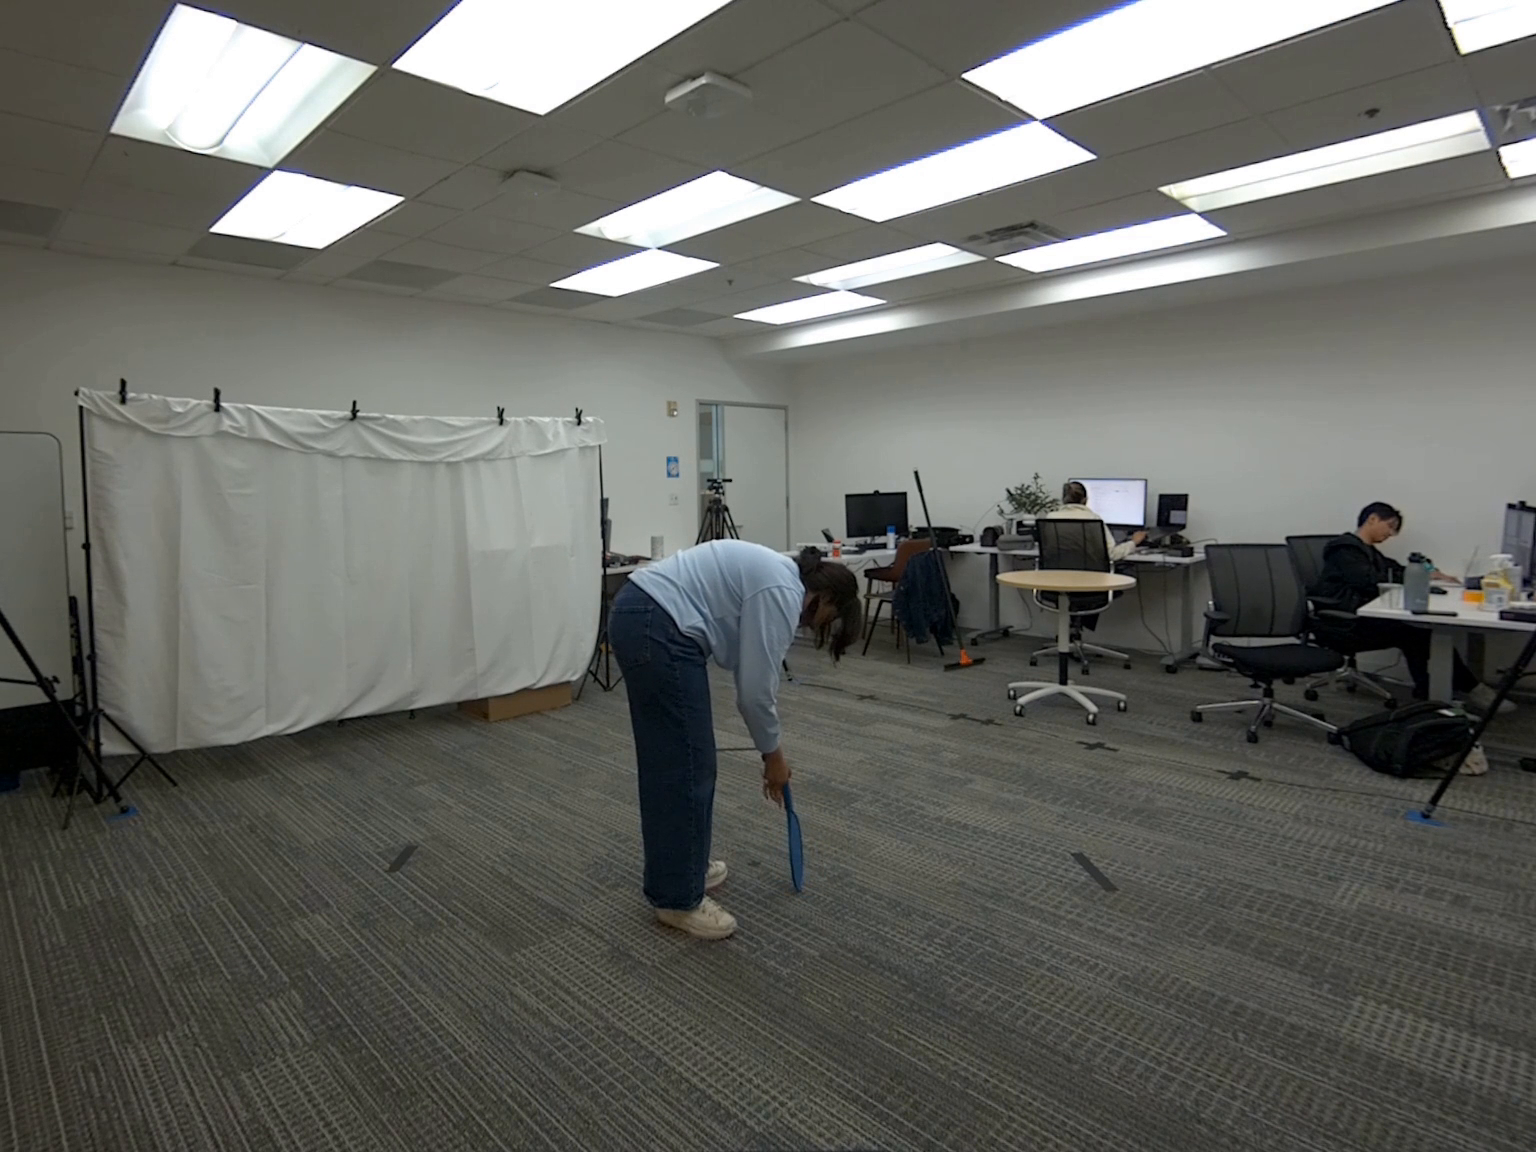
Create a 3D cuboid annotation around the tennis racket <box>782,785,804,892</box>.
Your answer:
[{"bbox_3d":[0.082,0.865,2.875,0.032,0.424,0.216,-6,21,9],"label":"tennis racket"}]
